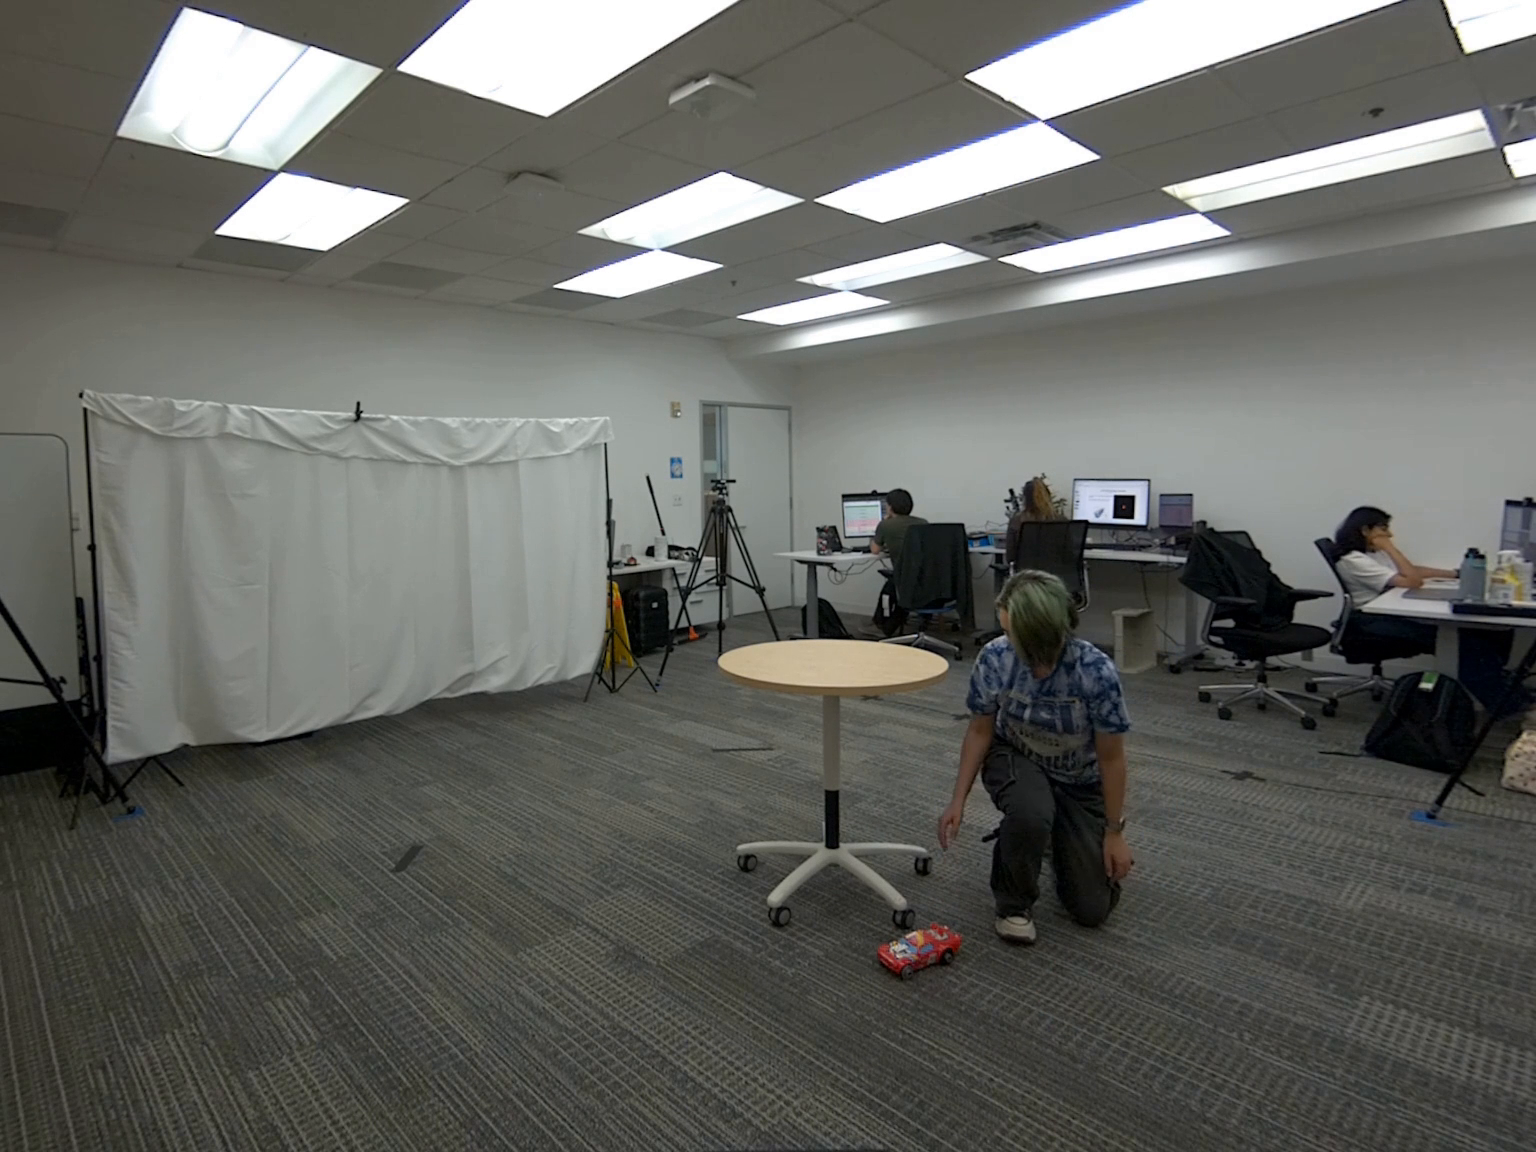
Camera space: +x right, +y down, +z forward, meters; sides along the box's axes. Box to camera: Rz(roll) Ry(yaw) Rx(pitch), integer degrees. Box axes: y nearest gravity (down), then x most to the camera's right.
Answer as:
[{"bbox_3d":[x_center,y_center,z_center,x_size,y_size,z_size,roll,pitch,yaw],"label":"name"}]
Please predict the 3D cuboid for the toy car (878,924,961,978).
[{"bbox_3d":[0.447,1.081,2.462,0.250,0.082,0.134,-17,15,-26],"label":"toy car"}]
